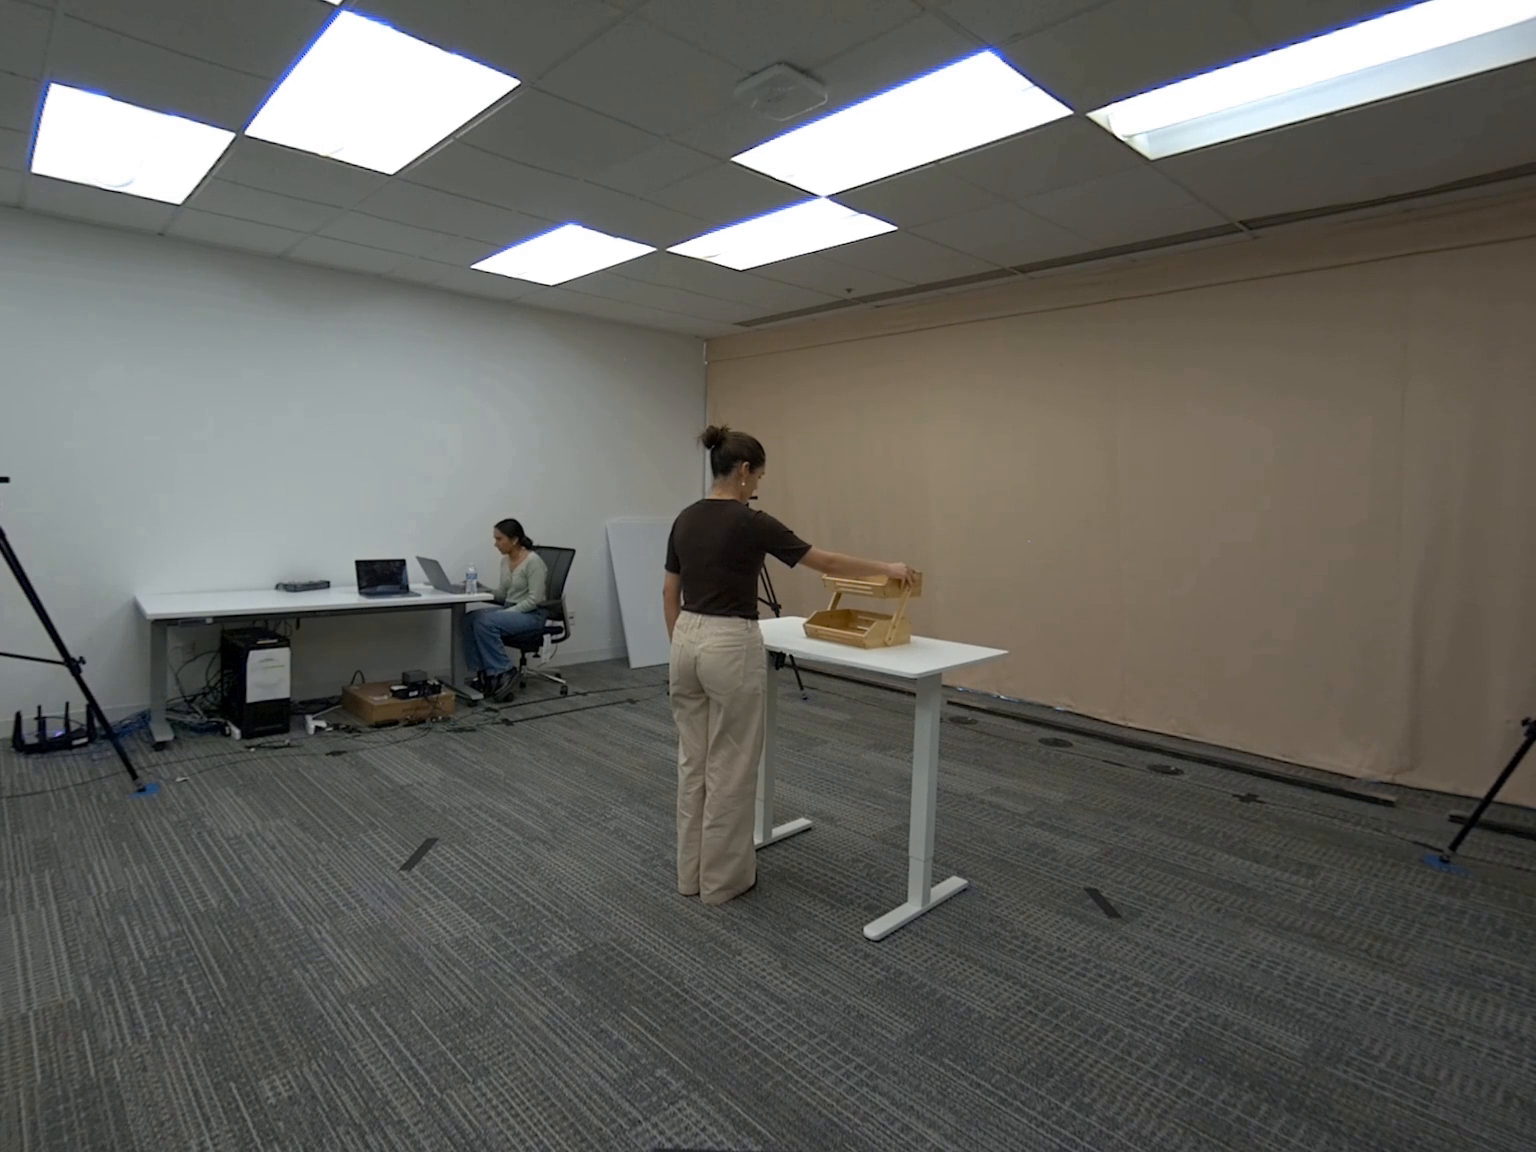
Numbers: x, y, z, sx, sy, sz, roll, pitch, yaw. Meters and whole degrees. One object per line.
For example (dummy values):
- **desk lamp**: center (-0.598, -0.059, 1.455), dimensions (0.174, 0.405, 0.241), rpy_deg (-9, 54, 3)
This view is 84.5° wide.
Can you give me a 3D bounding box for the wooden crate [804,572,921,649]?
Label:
- **wooden crate**: center (0.338, 0.103, 3.084), dimensions (0.295, 0.273, 0.333), rpy_deg (-1, 5, -41)
